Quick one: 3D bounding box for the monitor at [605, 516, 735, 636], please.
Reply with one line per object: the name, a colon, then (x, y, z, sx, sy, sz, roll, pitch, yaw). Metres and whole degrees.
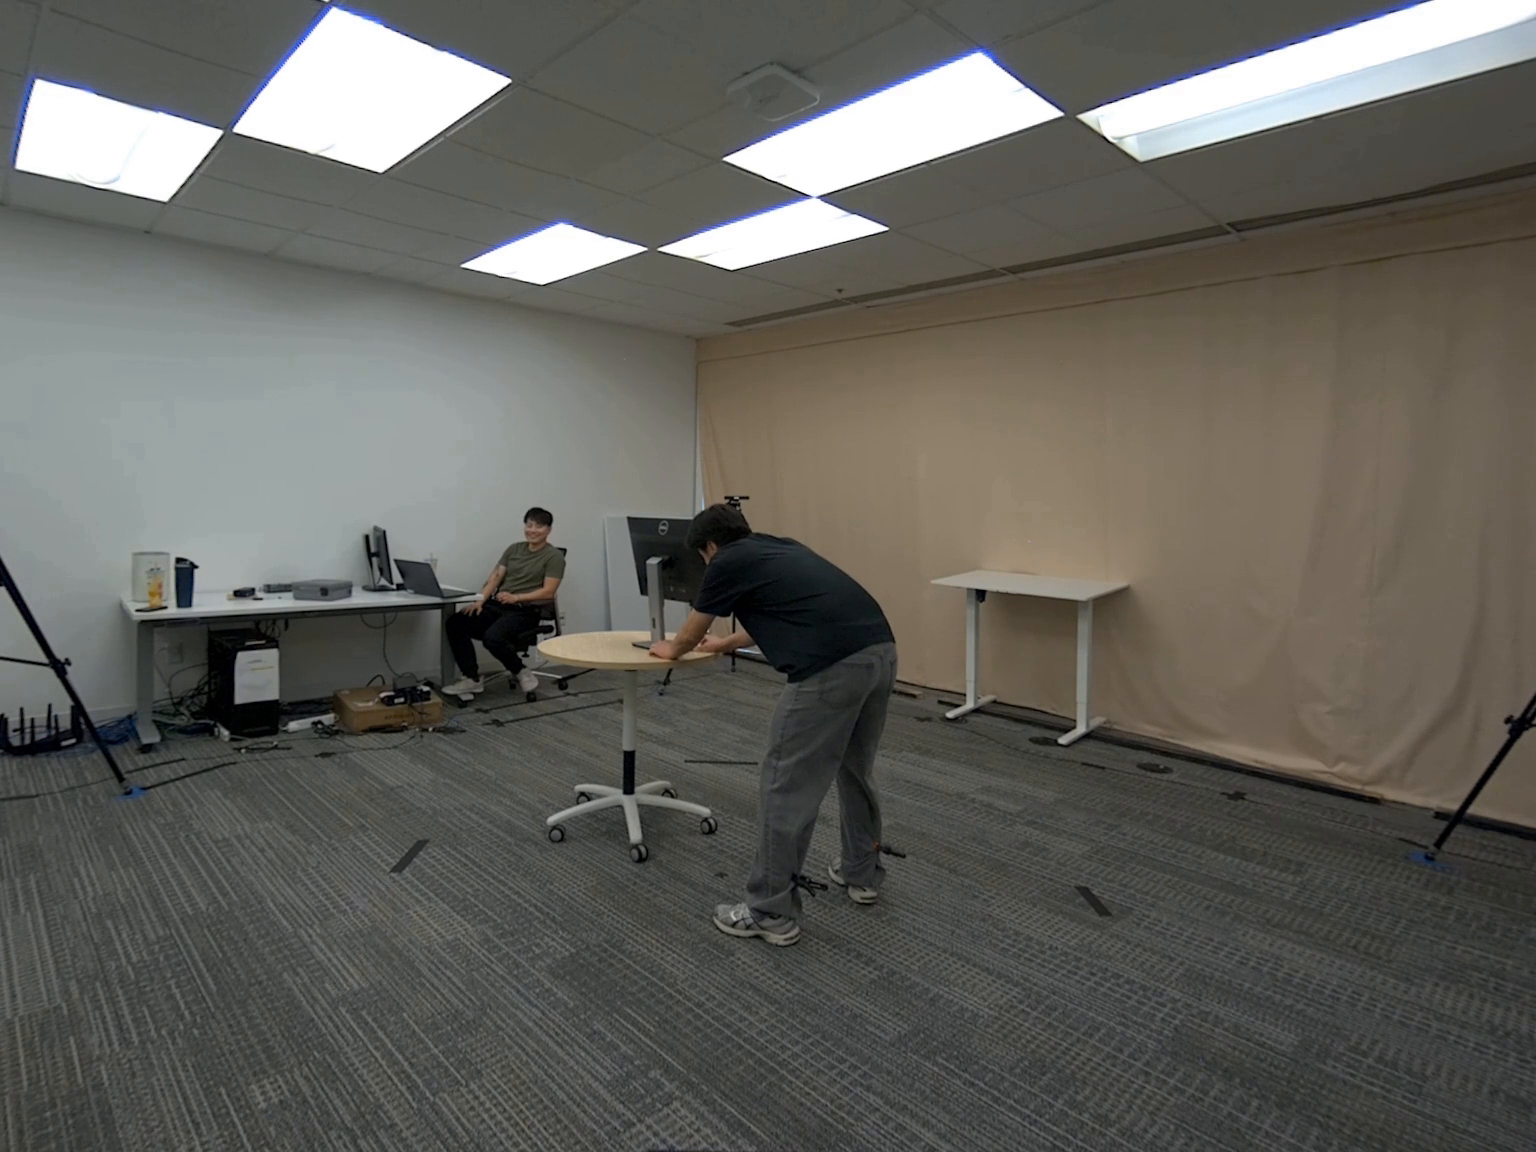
monitor: (-0.436, 0.031, 3.447, 0.206, 0.551, 0.580, -10, 11, -43)
